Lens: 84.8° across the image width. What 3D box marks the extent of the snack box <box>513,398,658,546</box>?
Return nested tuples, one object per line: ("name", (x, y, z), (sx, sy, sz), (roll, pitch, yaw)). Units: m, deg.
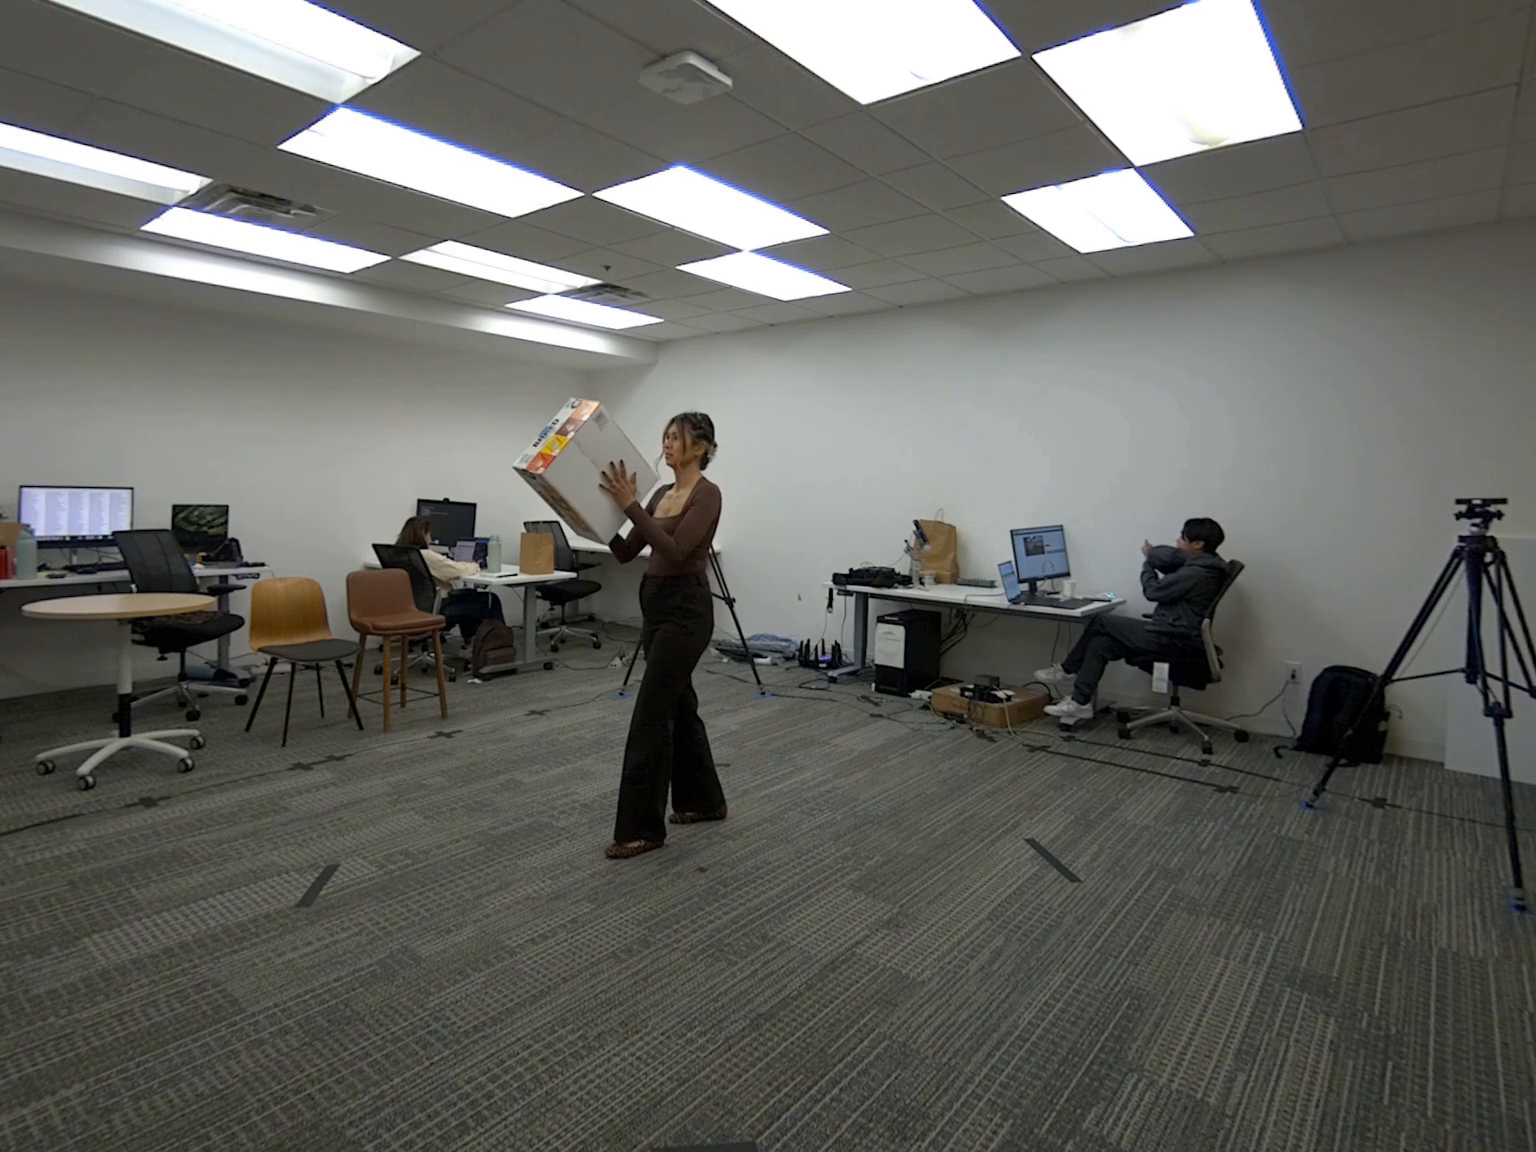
("snack box", (-0.677, -0.387, 3.126), (0.214, 0.341, 0.388), (17, -26, 45))
